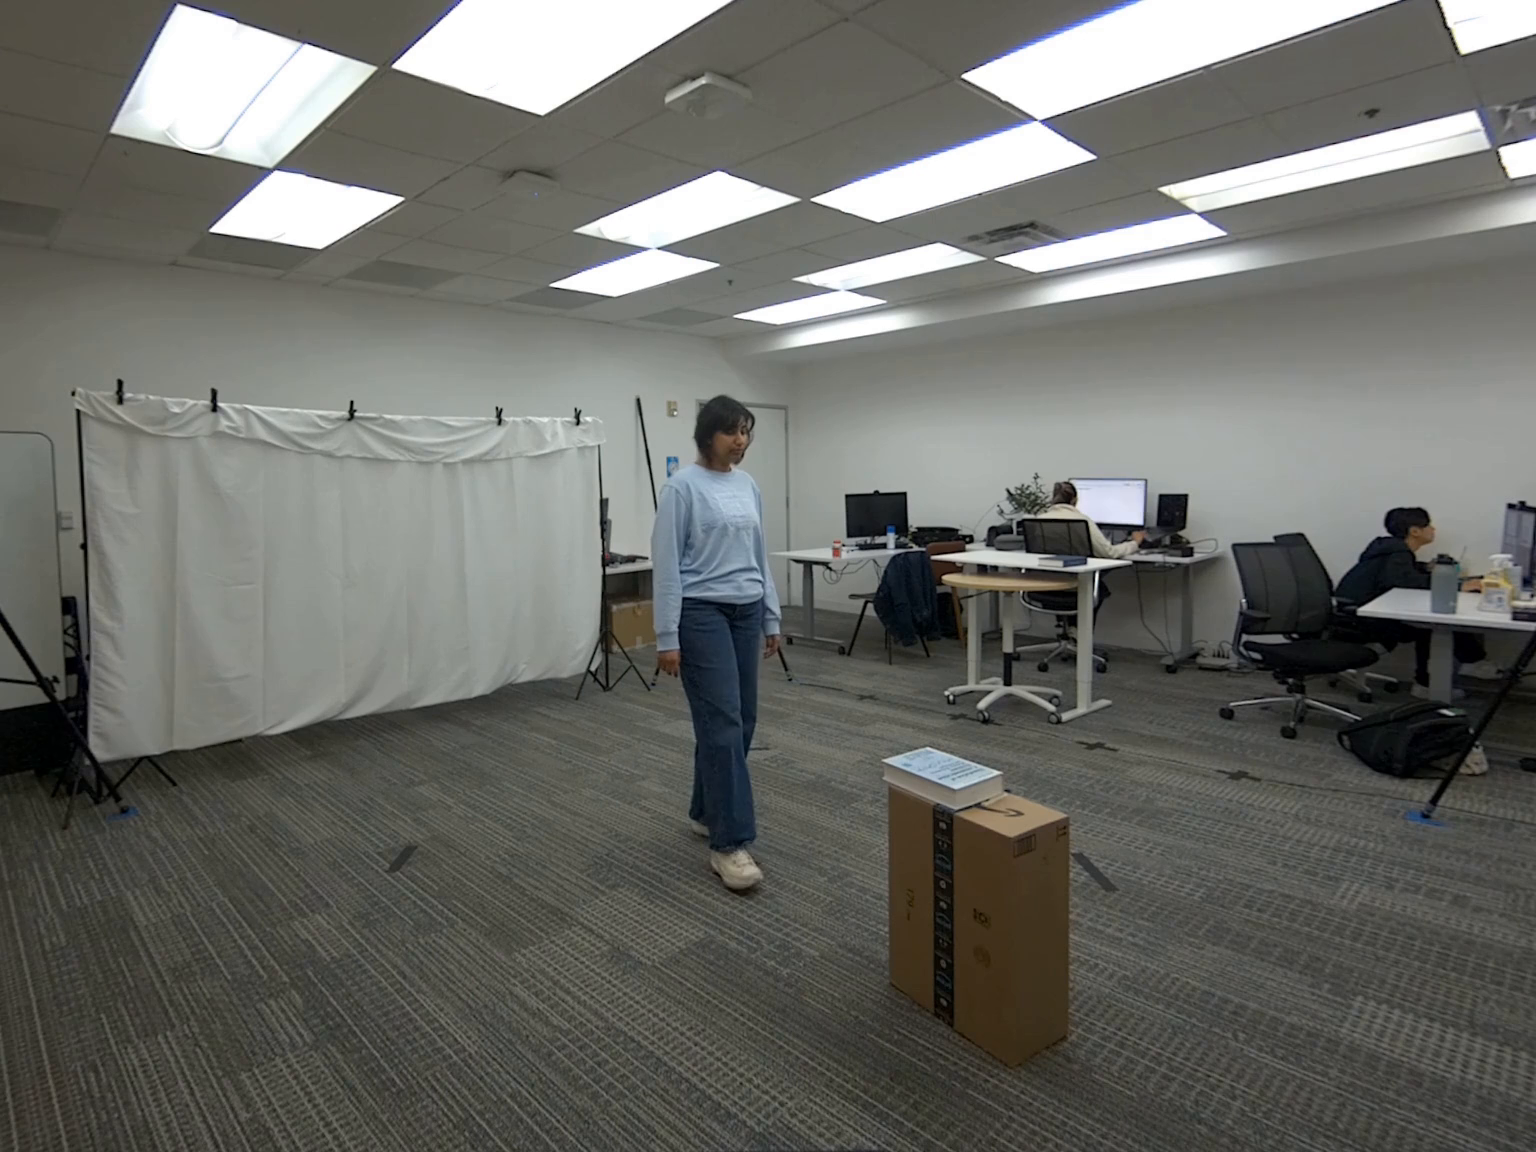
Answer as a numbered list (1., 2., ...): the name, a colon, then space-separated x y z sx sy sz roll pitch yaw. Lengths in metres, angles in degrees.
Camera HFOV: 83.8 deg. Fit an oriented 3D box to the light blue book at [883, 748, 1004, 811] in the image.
1. light blue book: 0.468 0.535 2.289 0.187 0.059 0.269 -7 9 -35
